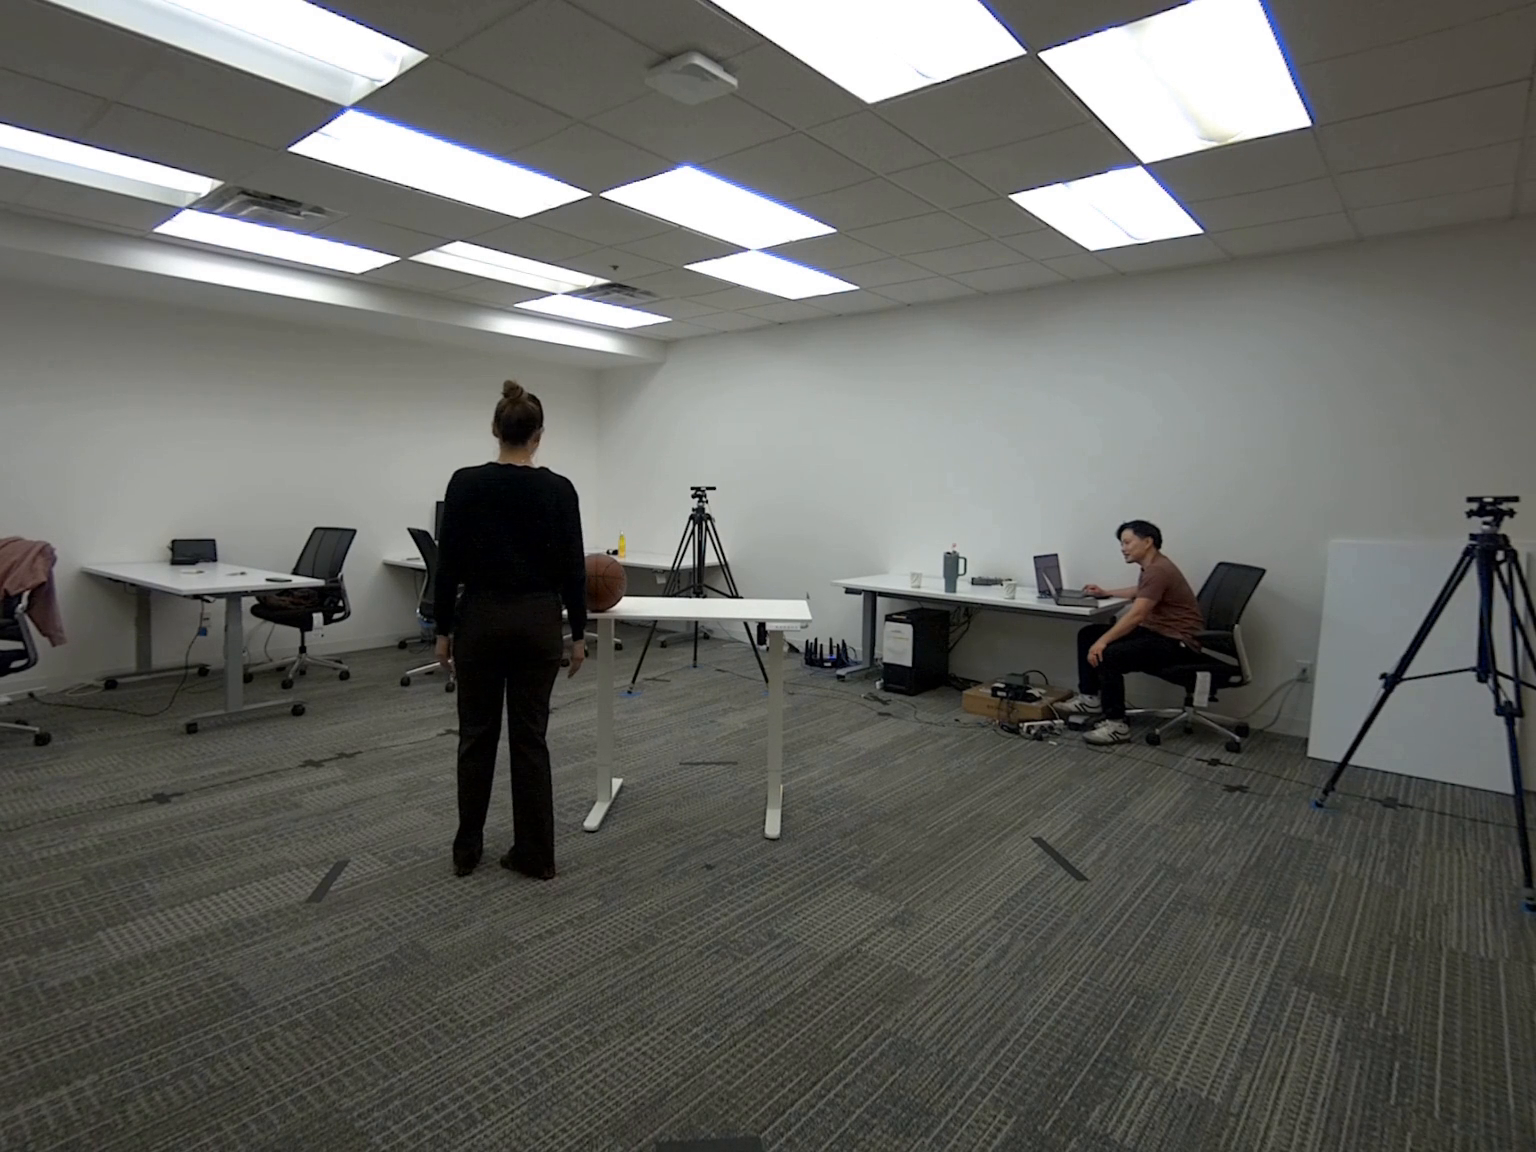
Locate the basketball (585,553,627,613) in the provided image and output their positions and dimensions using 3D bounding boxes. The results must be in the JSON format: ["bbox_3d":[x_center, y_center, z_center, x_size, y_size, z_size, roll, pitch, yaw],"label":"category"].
[{"bbox_3d":[-0.710,0.026,3.460,0.235,0.235,0.237,1,4,-2],"label":"basketball"}]
